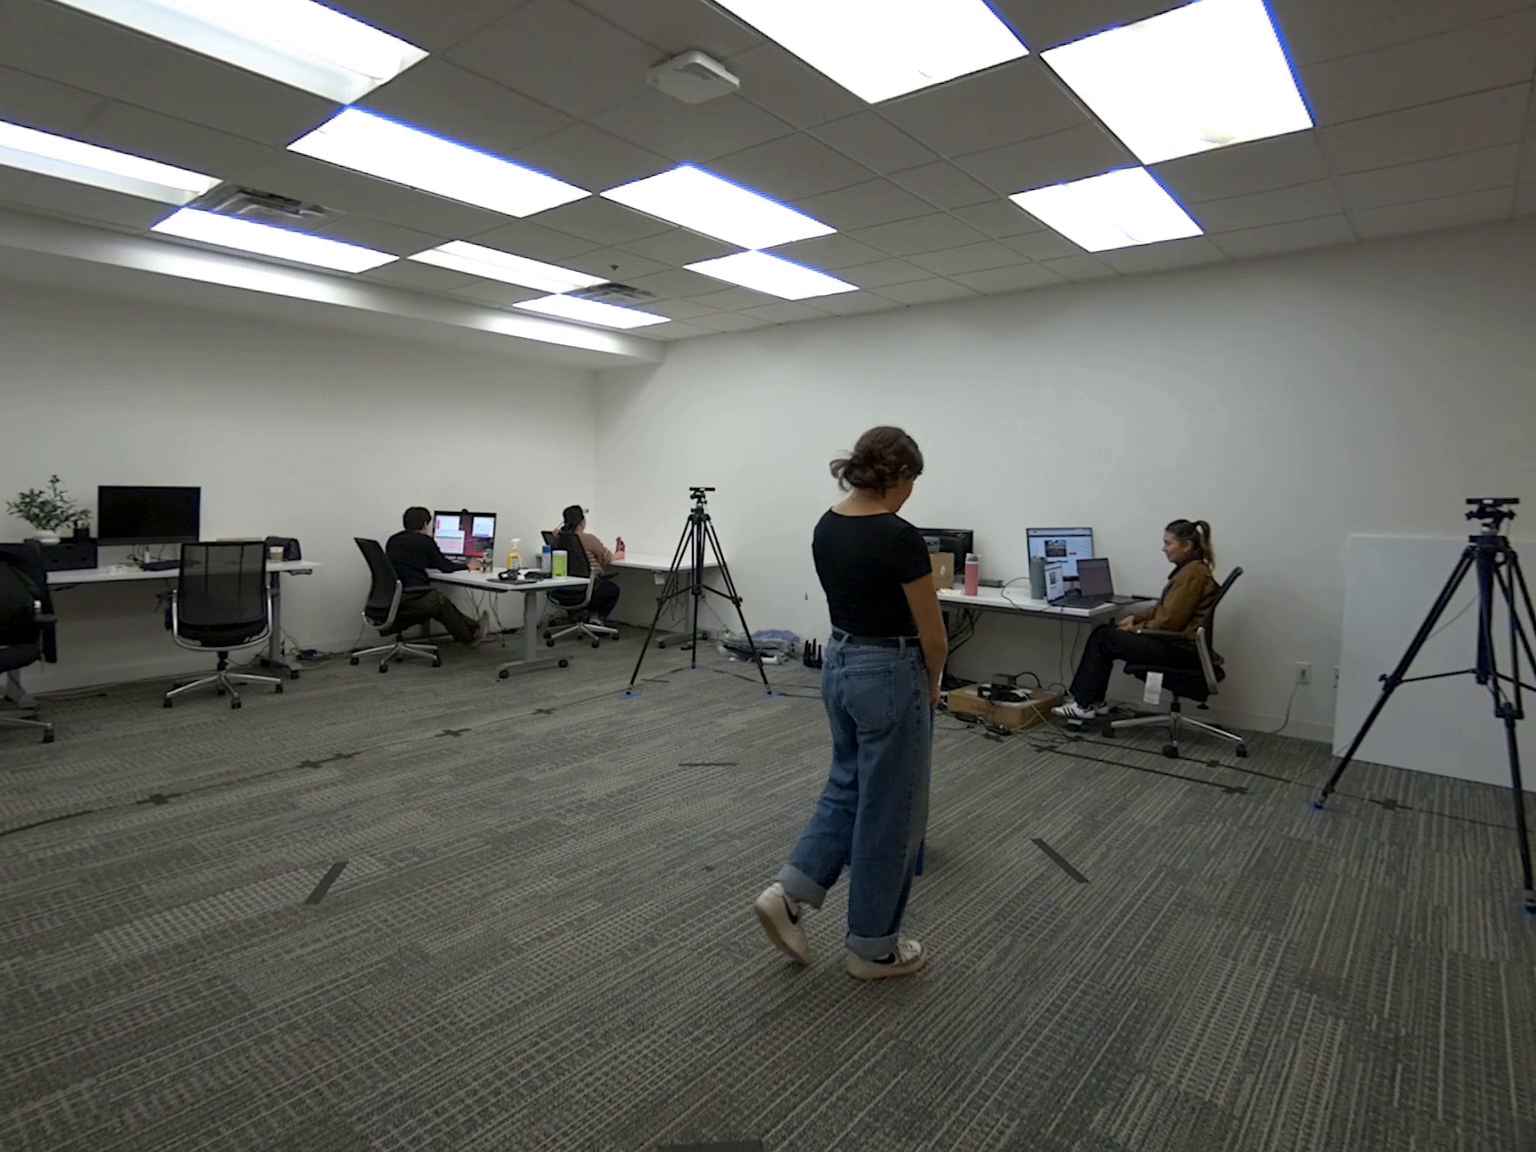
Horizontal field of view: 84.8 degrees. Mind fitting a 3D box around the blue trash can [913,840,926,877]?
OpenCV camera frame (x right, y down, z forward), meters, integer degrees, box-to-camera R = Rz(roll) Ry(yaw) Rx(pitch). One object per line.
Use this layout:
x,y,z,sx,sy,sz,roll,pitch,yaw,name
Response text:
0.454,0.707,3.250,0.380,0.711,0.373,2,4,14,blue trash can
